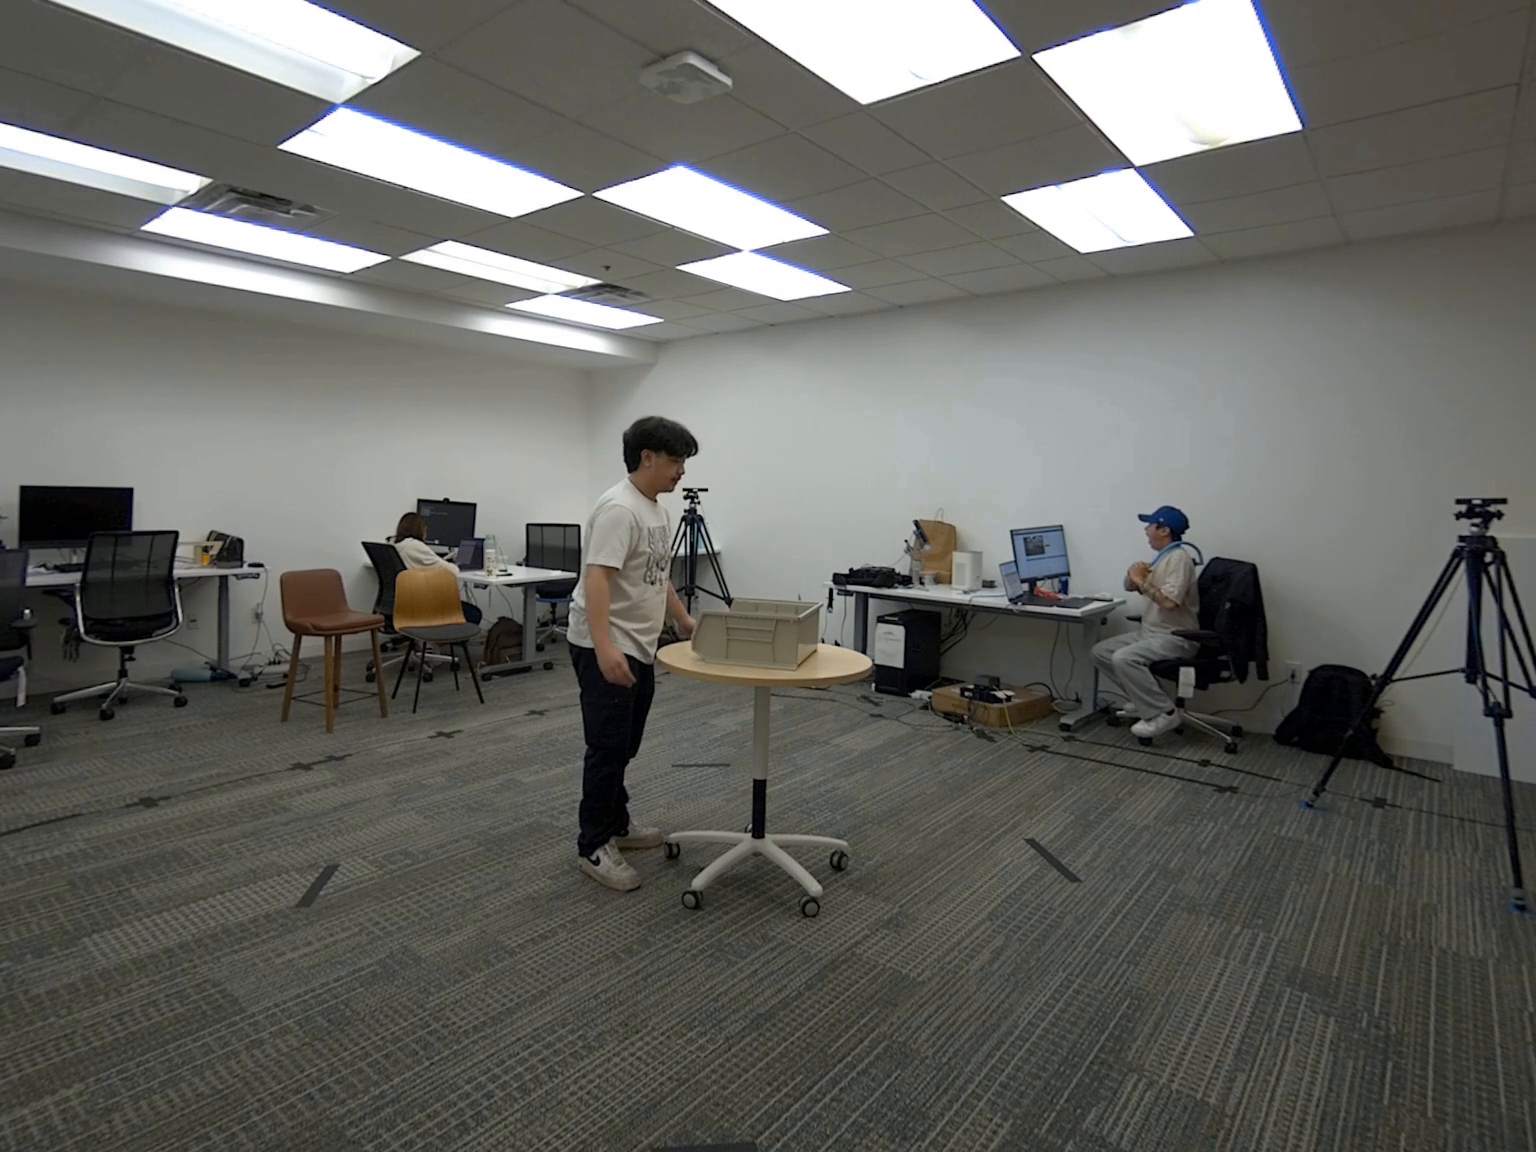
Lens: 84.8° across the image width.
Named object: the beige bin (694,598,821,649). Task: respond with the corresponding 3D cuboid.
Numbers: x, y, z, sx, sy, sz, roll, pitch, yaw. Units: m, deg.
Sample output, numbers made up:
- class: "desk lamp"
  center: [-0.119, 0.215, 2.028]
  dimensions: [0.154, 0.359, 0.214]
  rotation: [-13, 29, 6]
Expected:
- class: "beige bin"
  center: [-0.037, 0.197, 3.028]
  dimensions: [0.384, 0.188, 0.416]
  rotation: [4, 5, 15]
